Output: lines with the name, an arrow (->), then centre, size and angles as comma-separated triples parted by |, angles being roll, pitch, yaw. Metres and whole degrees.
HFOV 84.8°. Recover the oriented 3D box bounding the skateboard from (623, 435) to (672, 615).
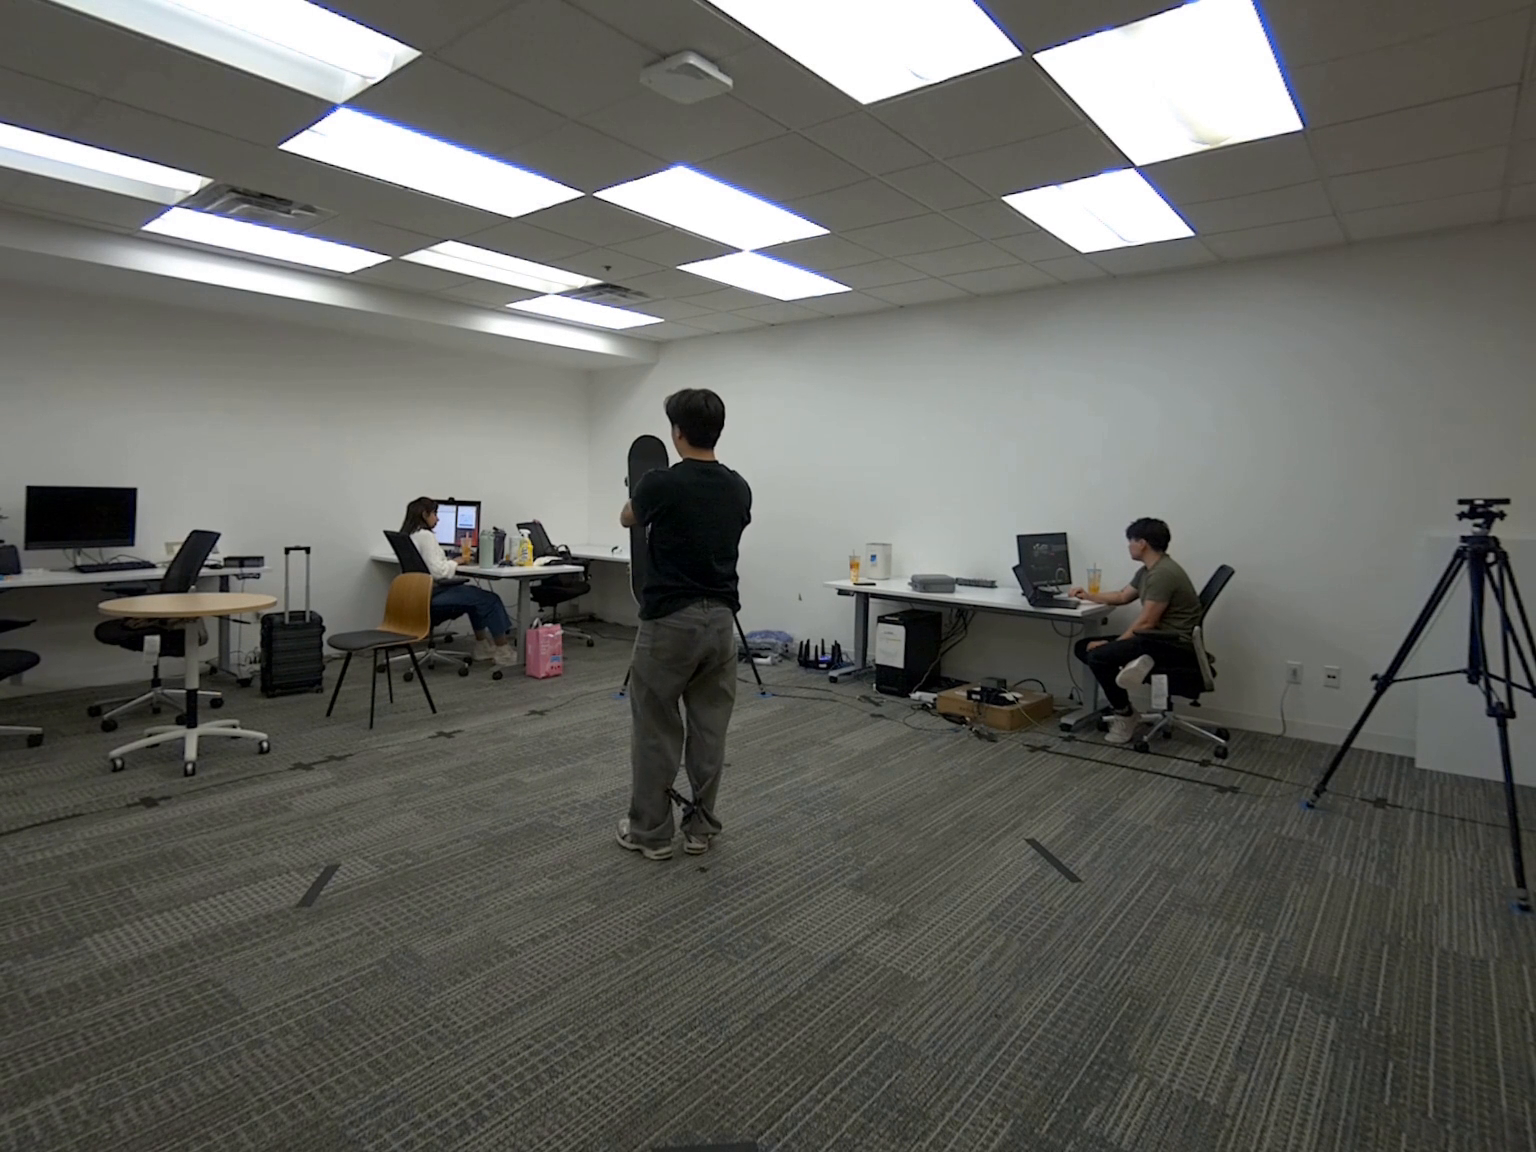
skateboard -> -0.527, -0.229, 3.752 | 0.189, 0.794, 0.111 | 0, -11, -21
